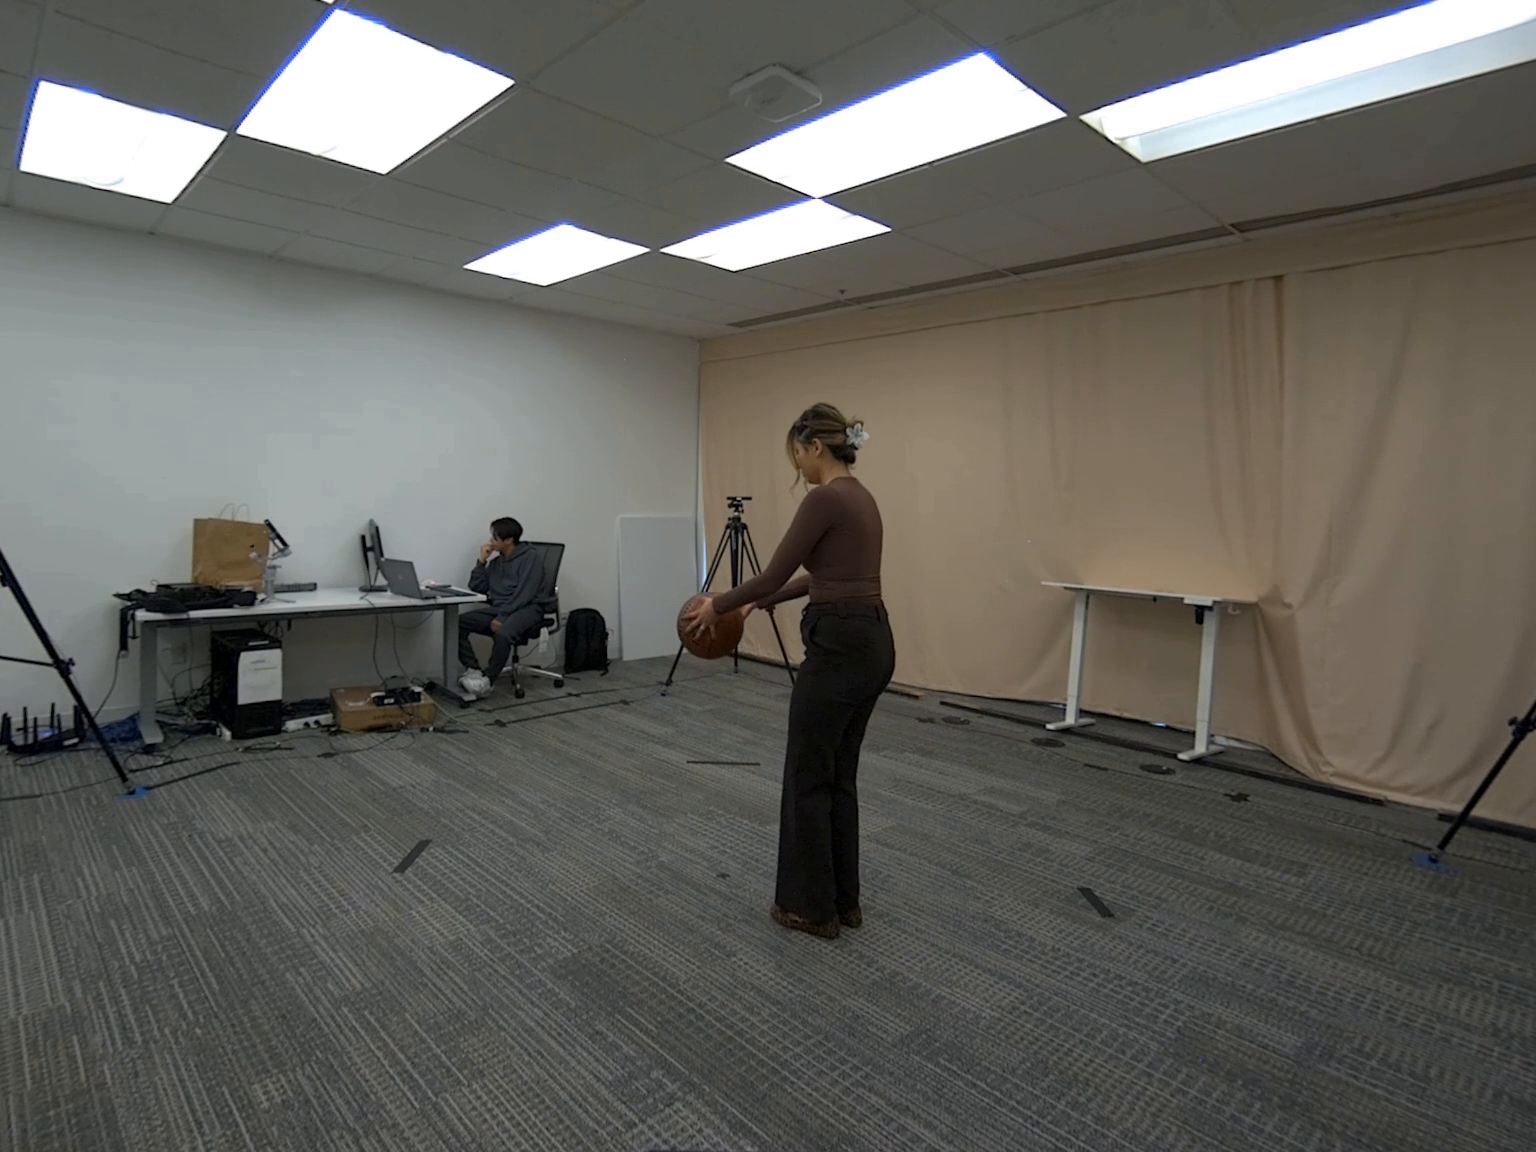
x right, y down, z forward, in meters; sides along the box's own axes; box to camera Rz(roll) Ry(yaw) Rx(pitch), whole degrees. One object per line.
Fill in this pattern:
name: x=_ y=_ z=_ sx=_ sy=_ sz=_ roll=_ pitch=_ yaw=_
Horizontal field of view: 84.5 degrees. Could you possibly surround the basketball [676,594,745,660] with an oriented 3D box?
basketball: x=-0.209 y=0.180 z=2.972 sx=0.236 sy=0.235 sz=0.237 roll=1 pitch=4 yaw=-1
